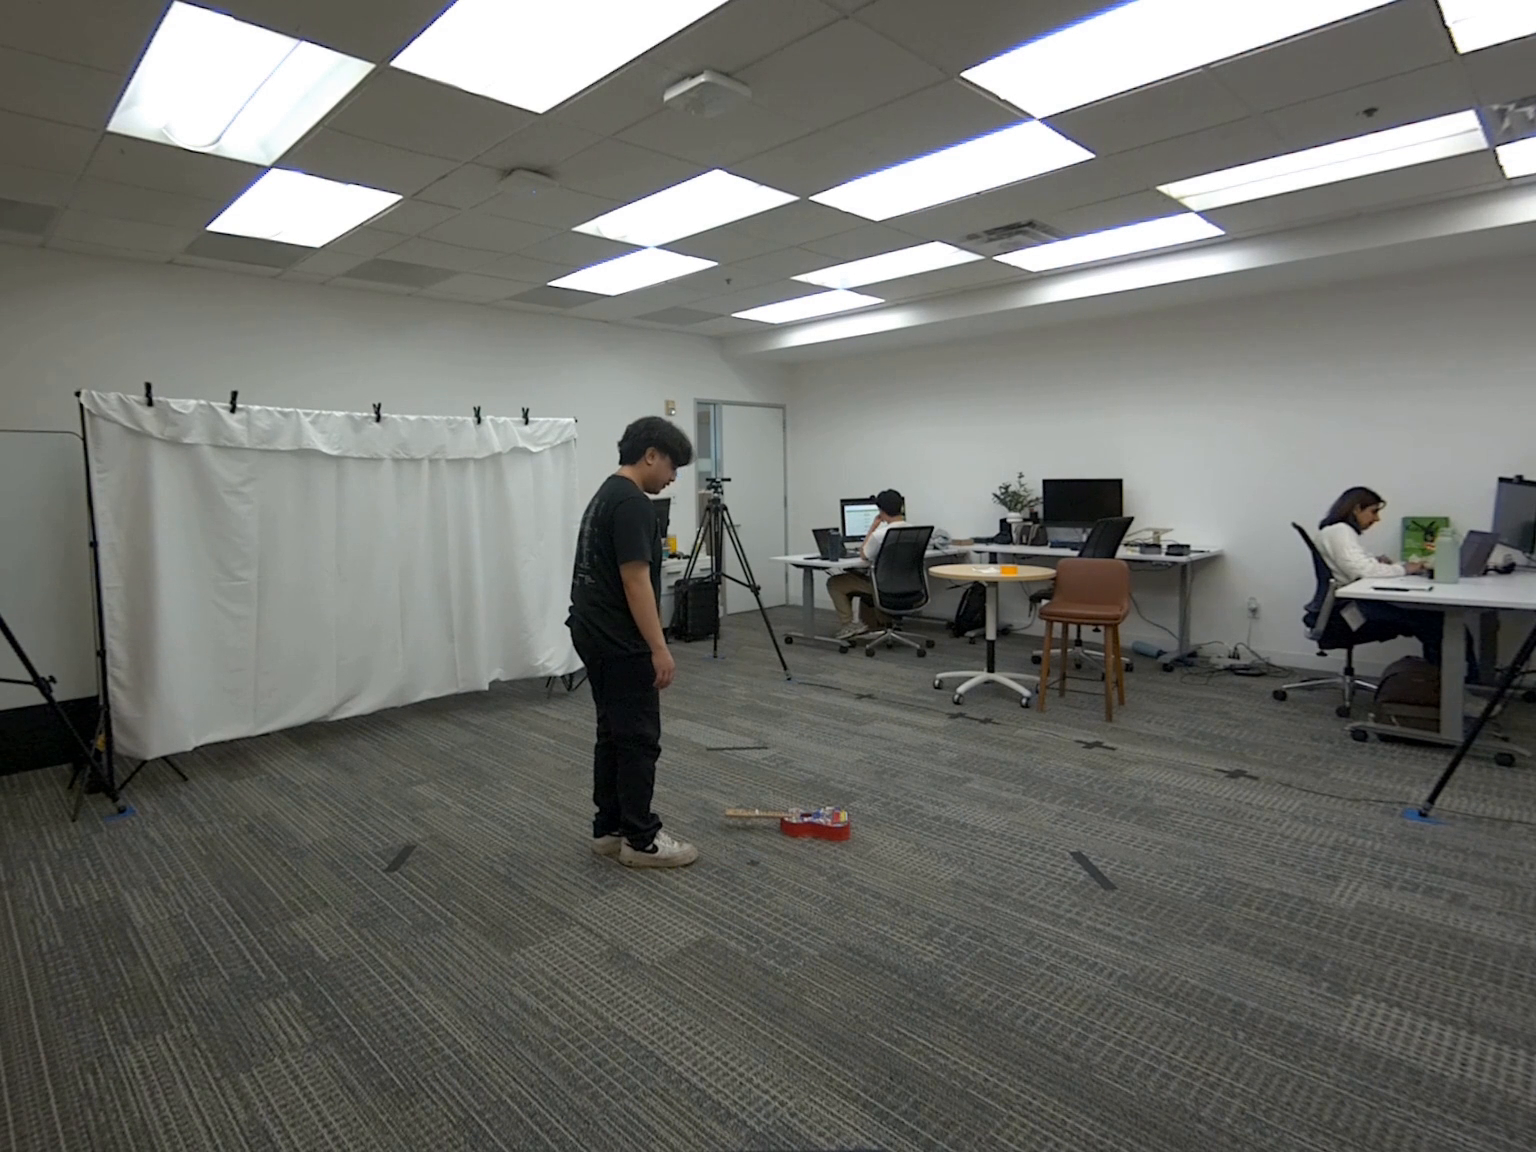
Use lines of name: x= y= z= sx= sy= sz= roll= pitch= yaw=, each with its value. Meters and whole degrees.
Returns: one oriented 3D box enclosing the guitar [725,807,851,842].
guitar: x=0.084 y=0.969 z=3.421 sx=0.505 sy=0.070 sz=0.191 roll=2 pitch=7 yaw=14
